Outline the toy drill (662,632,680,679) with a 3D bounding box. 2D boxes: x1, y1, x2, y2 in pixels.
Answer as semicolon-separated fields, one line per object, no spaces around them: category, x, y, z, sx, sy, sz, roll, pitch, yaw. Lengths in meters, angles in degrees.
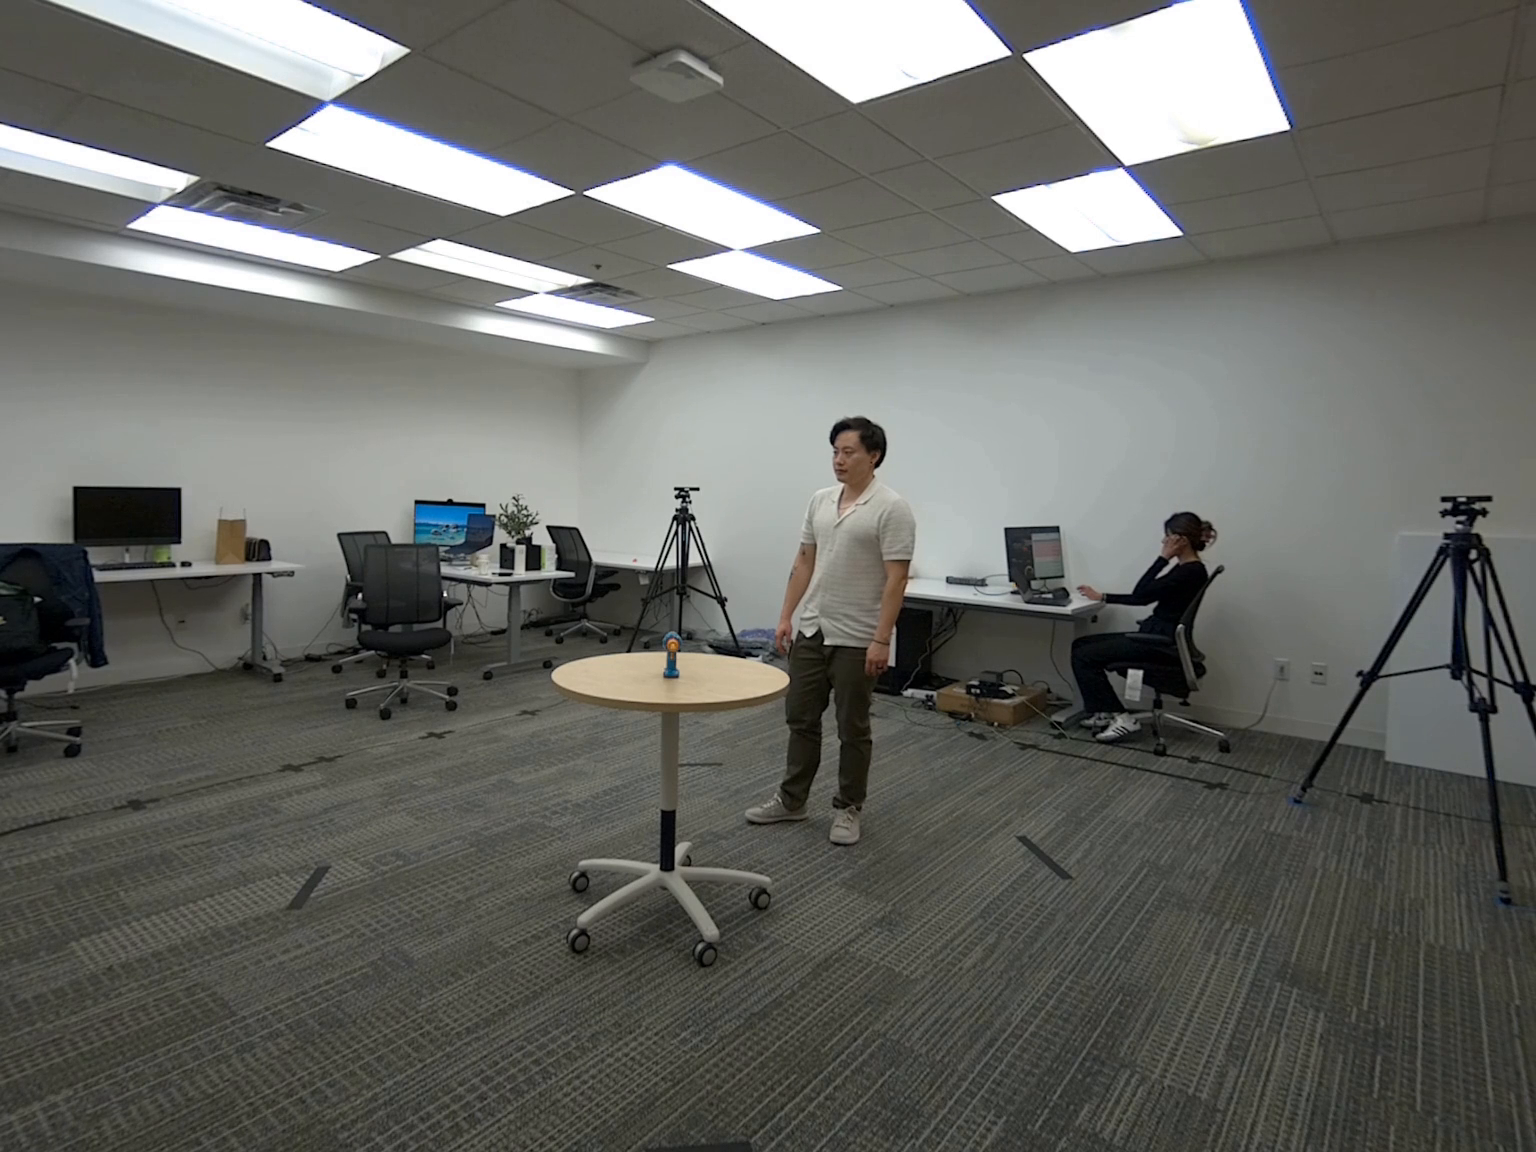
toy drill;-0.305;0.250;2.685;0.060;0.146;0.172;2;3;-12
